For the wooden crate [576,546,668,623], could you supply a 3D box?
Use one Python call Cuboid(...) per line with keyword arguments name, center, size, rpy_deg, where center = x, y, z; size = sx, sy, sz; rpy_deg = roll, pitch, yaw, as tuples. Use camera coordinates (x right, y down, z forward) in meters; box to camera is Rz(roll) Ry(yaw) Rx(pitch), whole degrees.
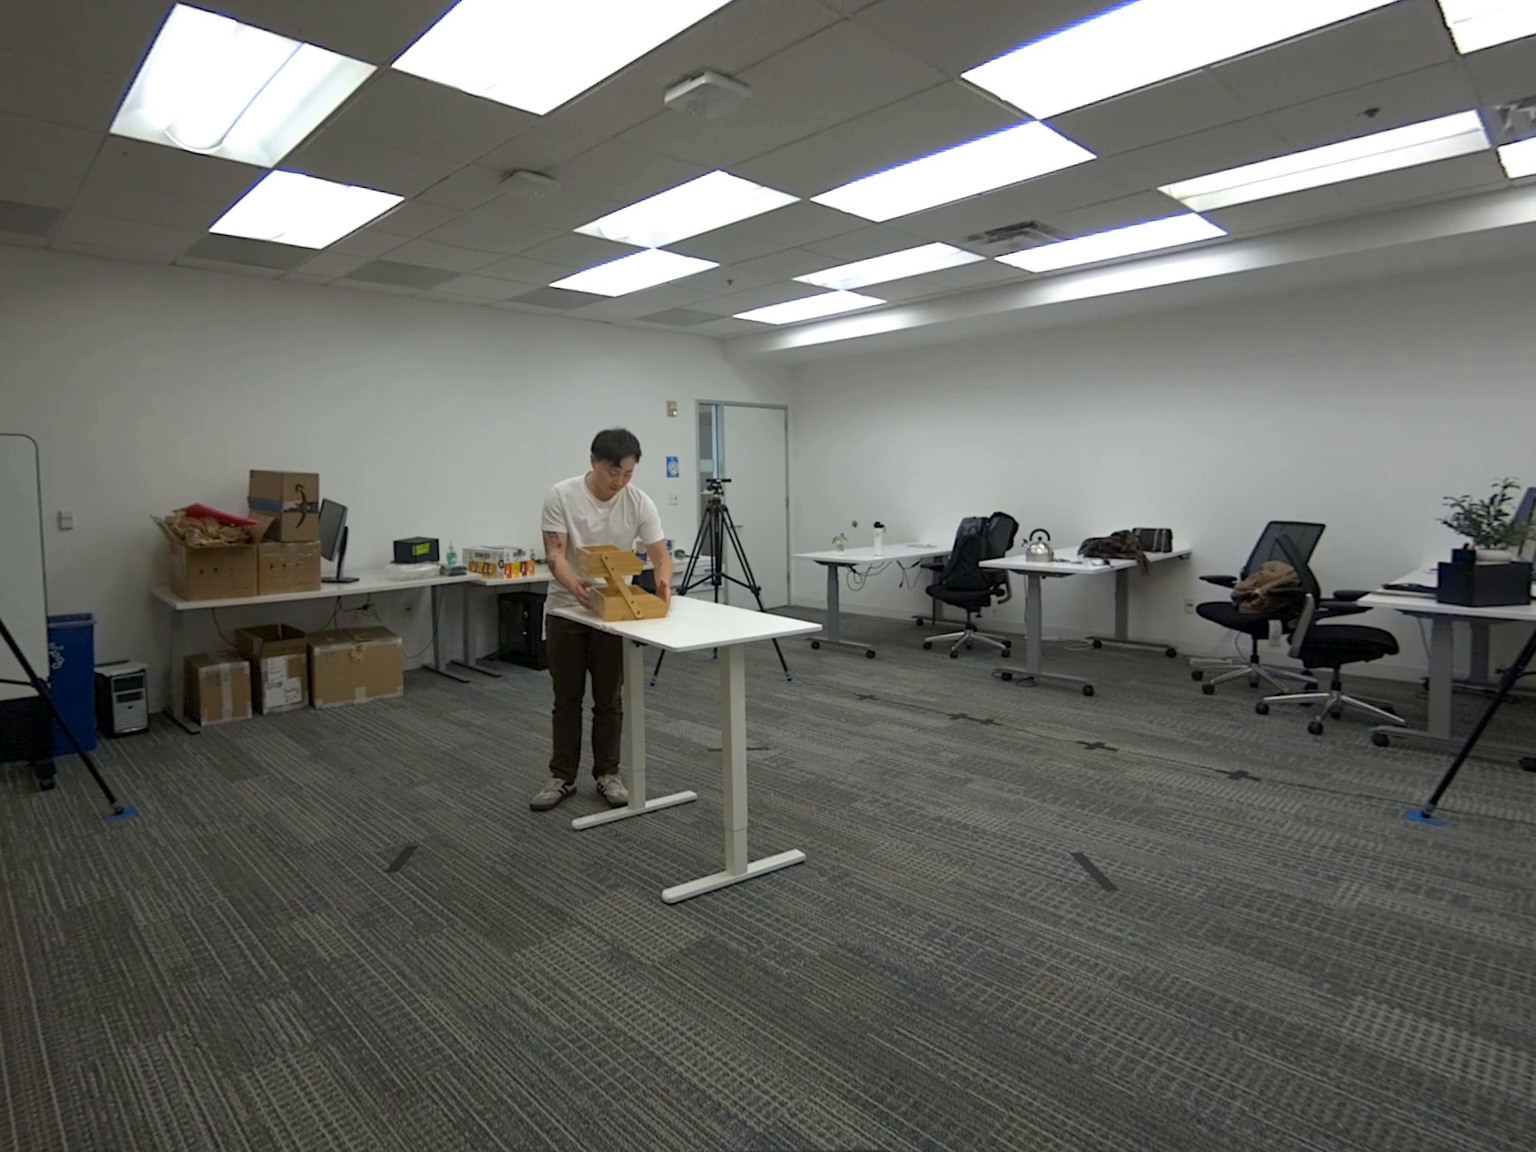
Cuboid(name="wooden crate", center=(-0.563, 0.016, 3.318), size=(0.297, 0.272, 0.331), rpy_deg=(-3, 5, -21))
